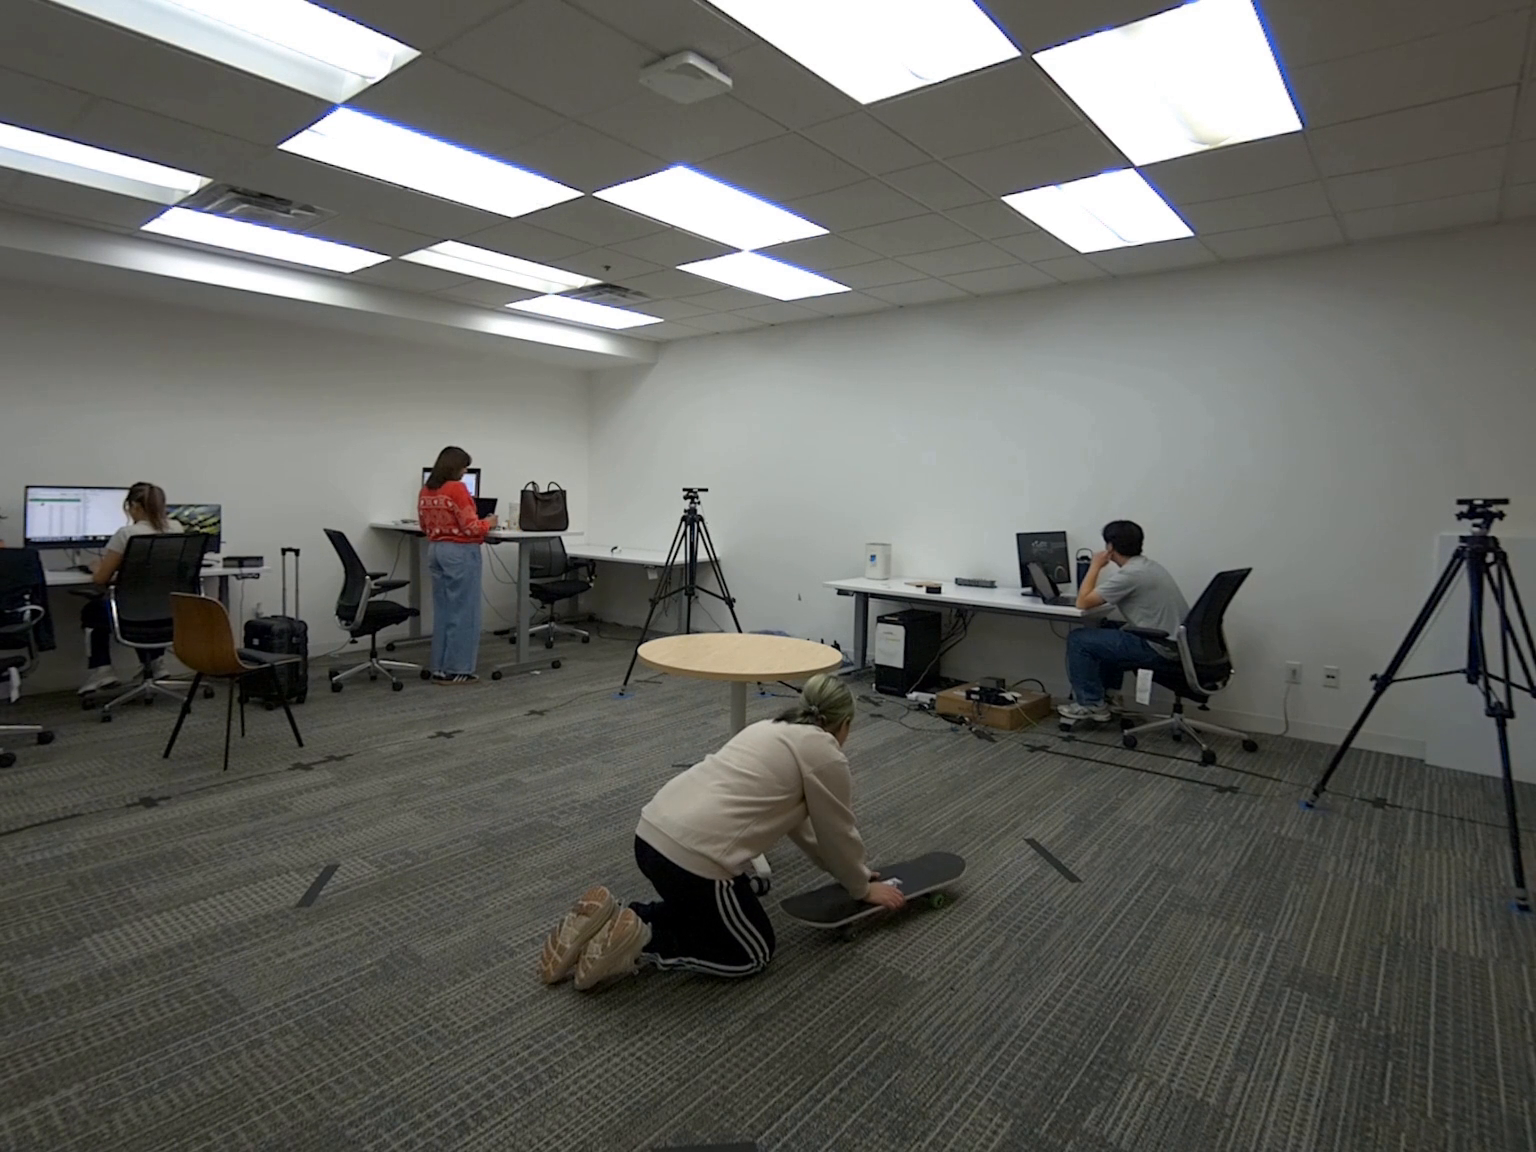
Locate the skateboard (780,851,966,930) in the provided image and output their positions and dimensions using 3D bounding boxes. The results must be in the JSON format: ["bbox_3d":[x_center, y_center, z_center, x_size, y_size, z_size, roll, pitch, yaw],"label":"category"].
[{"bbox_3d":[0.361,1.058,2.802,0.763,0.110,0.200,-3,7,-35],"label":"skateboard"}]
